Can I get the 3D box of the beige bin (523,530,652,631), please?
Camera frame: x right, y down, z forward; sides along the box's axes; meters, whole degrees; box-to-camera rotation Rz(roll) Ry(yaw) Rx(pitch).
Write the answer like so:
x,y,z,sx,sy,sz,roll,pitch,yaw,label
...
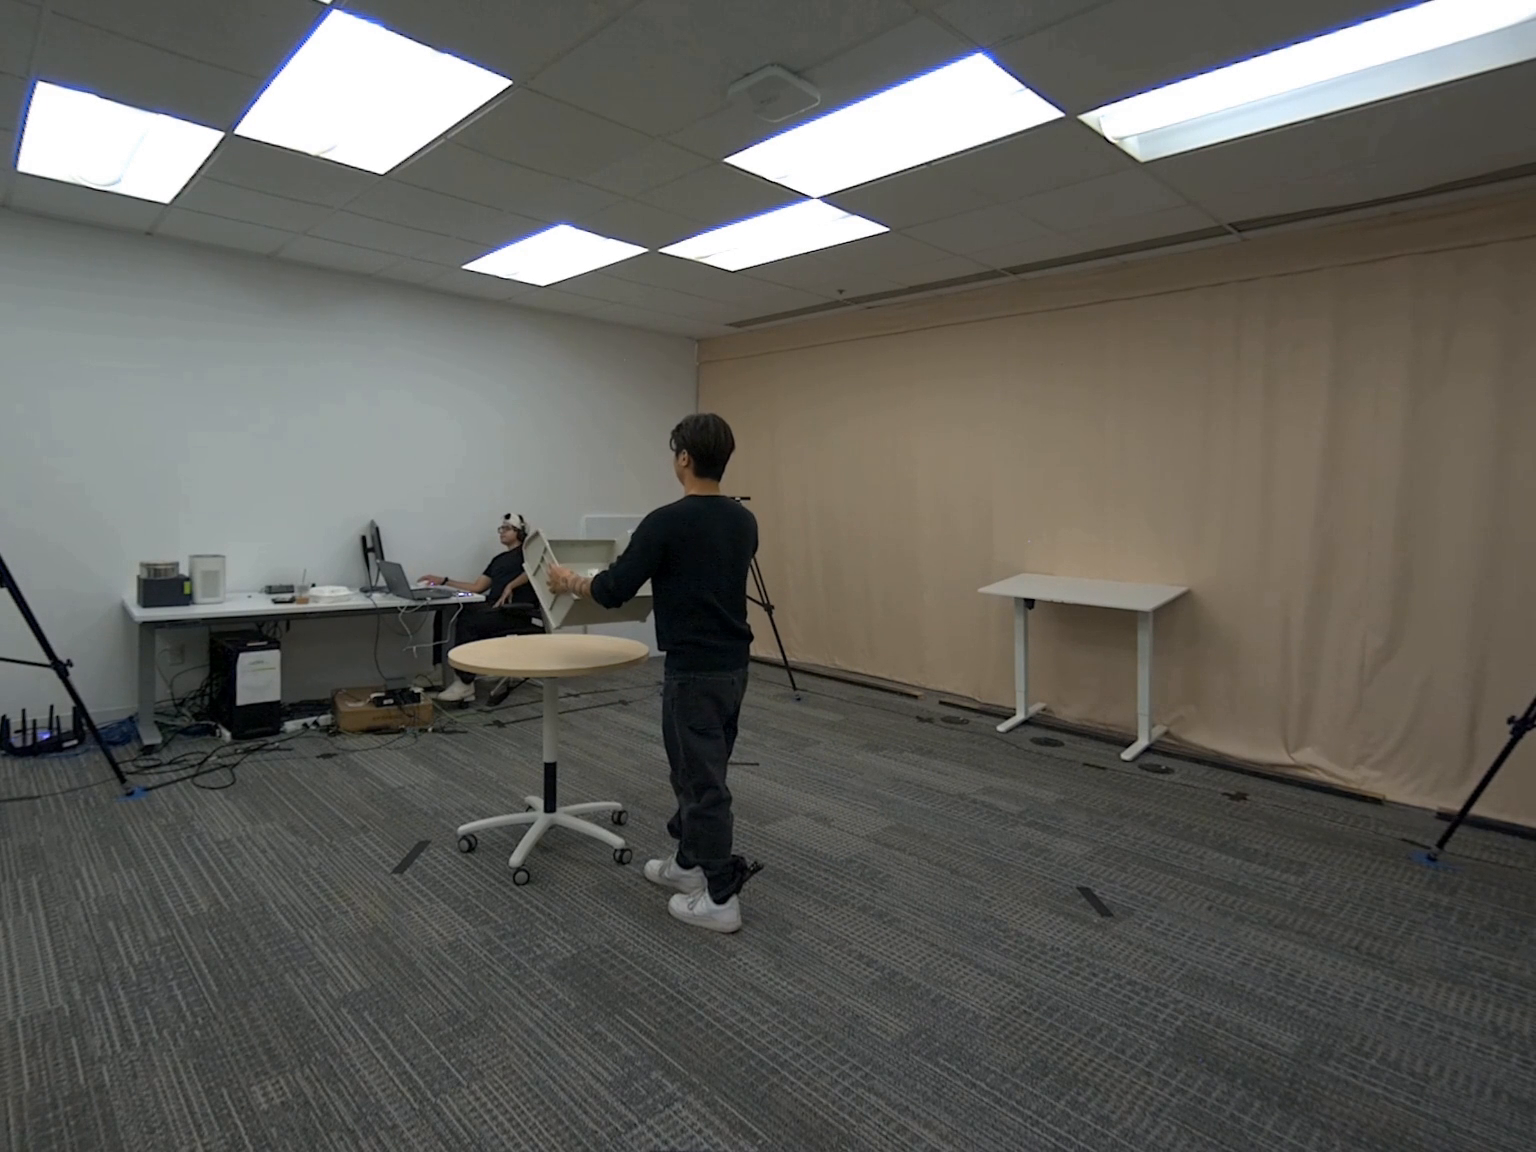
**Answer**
x,y,z,sx,sy,sz,roll,pitch,yaw,label
-0.658,-0.007,3.137,0.412,0.188,0.388,-1,47,-45,beige bin
